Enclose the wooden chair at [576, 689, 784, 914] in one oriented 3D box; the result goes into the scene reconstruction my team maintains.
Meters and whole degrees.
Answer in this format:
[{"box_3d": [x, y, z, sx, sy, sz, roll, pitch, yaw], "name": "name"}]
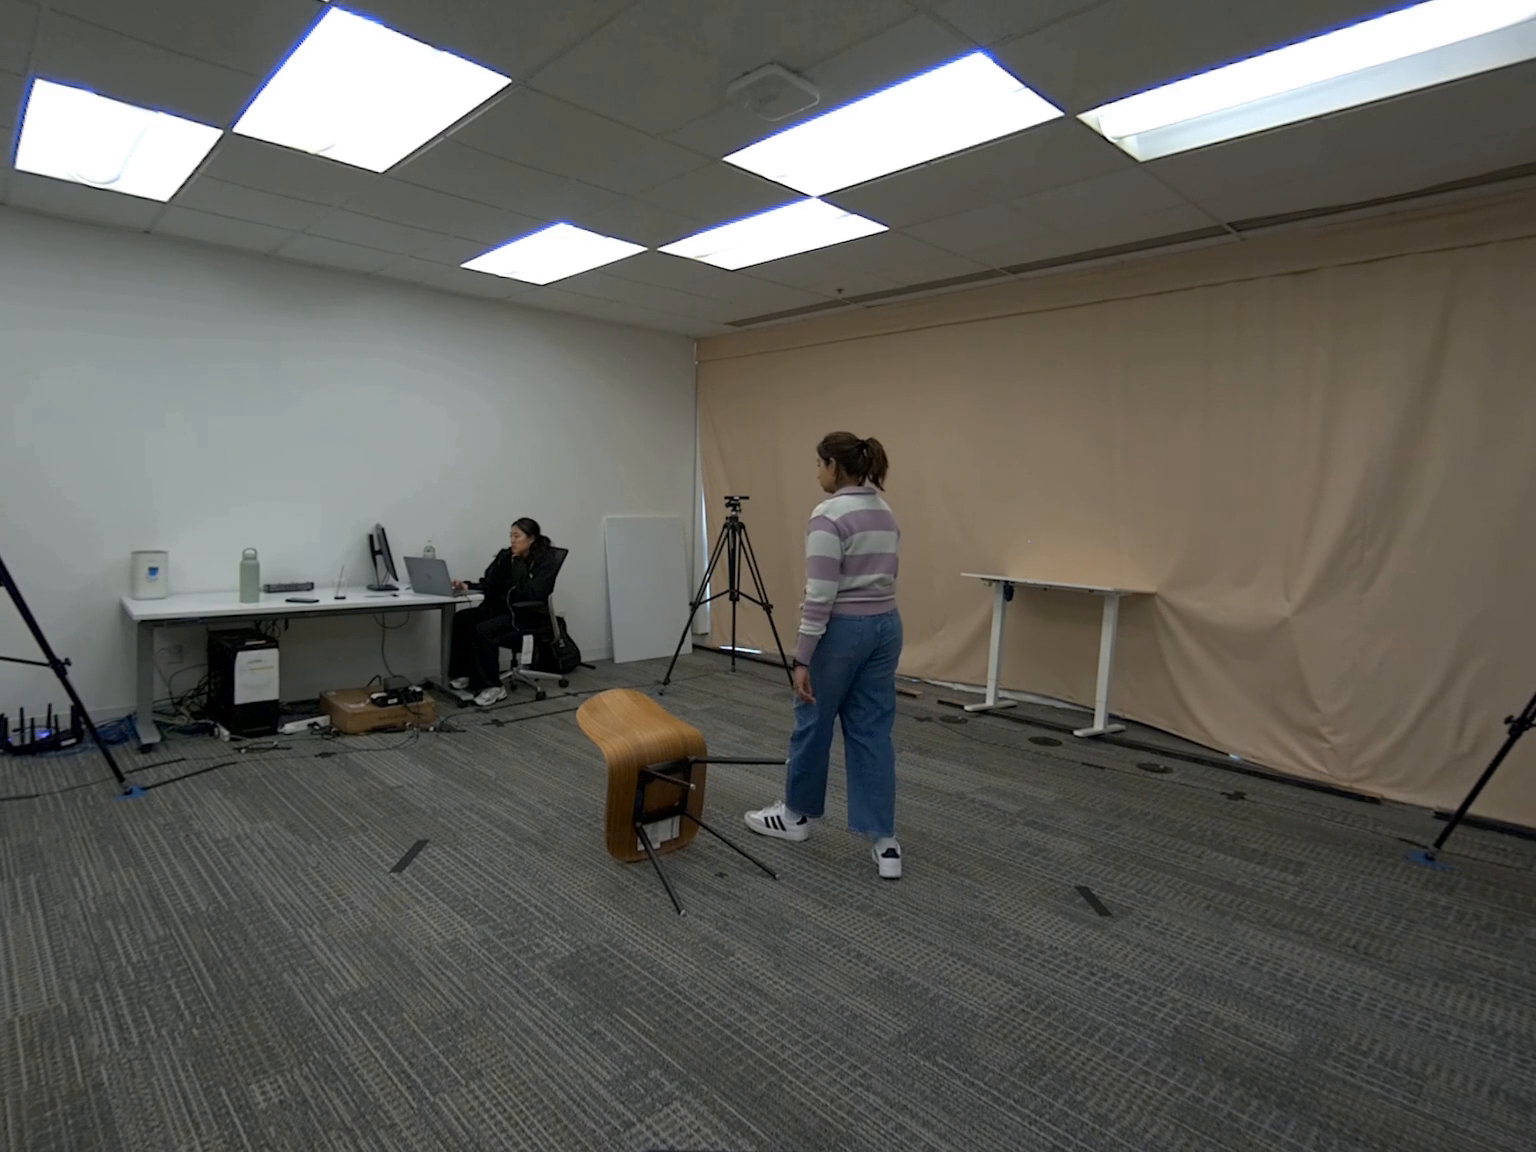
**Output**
[{"box_3d": [-0.404, 0.836, 3.228, 0.467, 0.520, 0.903, -3, 14, -42], "name": "wooden chair"}]
